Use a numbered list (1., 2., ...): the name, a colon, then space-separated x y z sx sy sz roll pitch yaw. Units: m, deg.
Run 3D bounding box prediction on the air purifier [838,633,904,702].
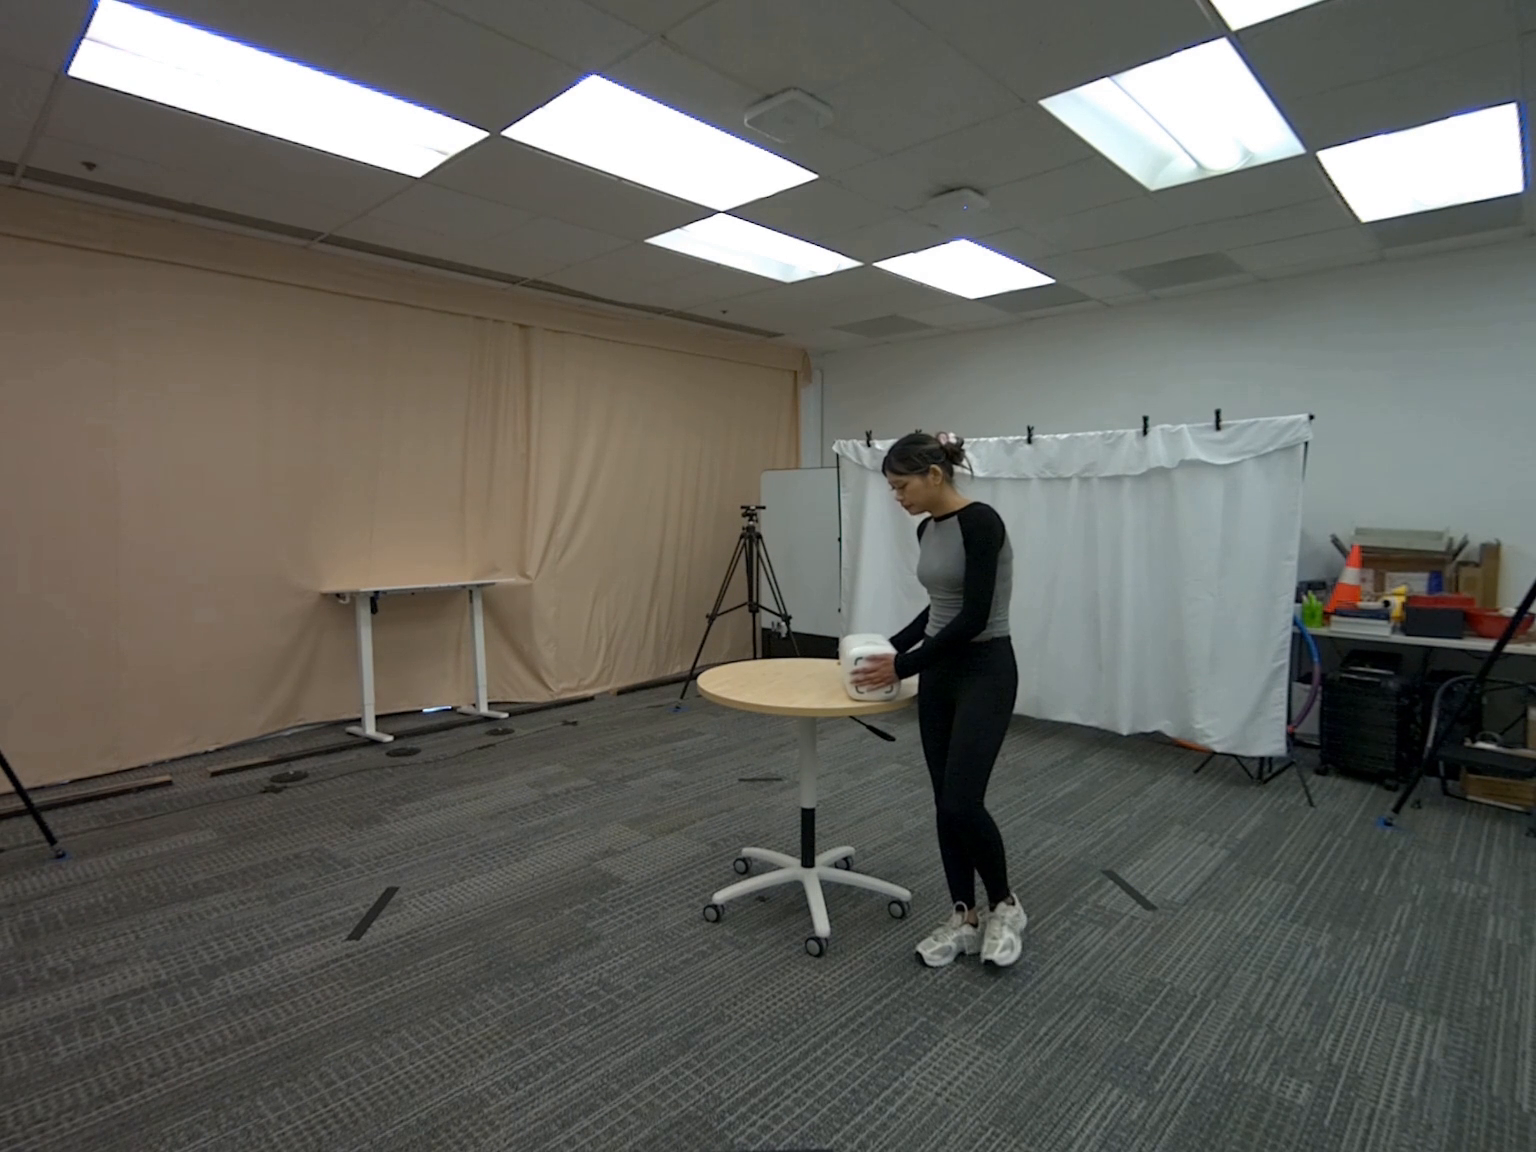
1. air purifier: 0.331 0.291 2.688 0.171 0.171 0.265 1 5 1
